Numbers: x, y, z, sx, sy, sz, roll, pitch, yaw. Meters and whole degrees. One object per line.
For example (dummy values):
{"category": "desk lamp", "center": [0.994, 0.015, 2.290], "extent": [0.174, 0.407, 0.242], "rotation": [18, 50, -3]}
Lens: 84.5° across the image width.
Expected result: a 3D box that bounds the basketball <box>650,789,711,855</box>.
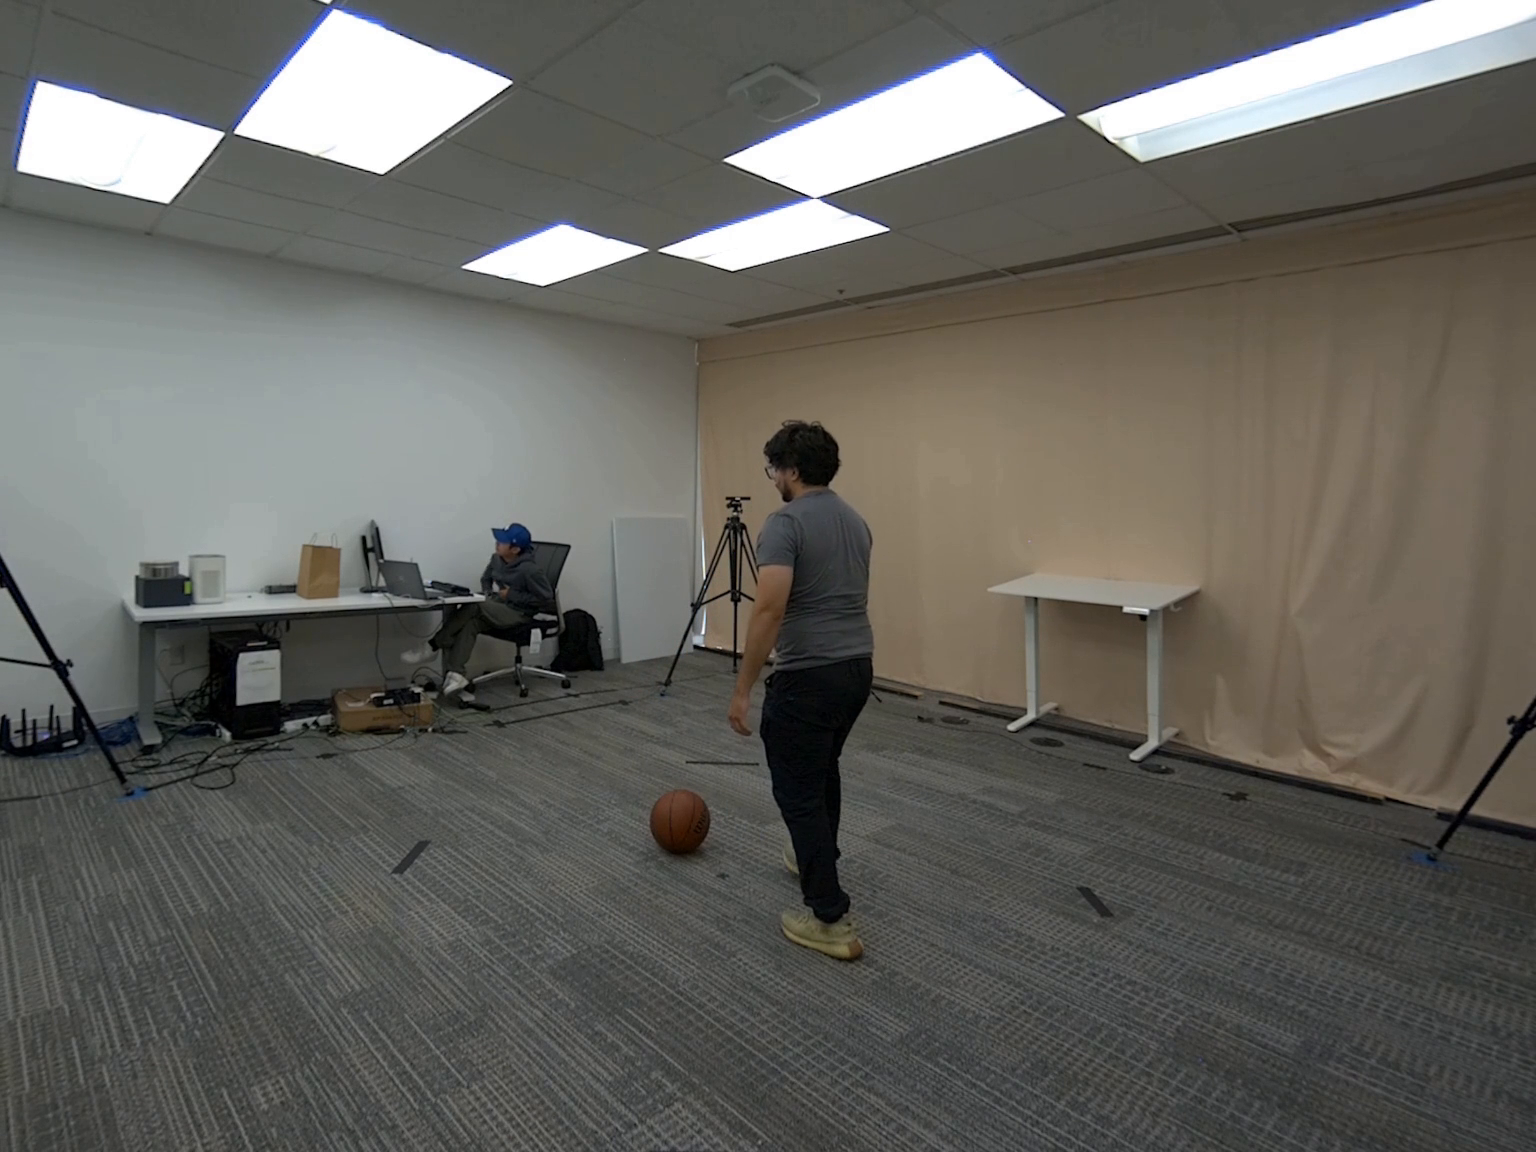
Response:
{"category": "basketball", "center": [-0.350, 0.960, 3.310], "extent": [0.236, 0.235, 0.237], "rotation": [1, 4, -1]}
